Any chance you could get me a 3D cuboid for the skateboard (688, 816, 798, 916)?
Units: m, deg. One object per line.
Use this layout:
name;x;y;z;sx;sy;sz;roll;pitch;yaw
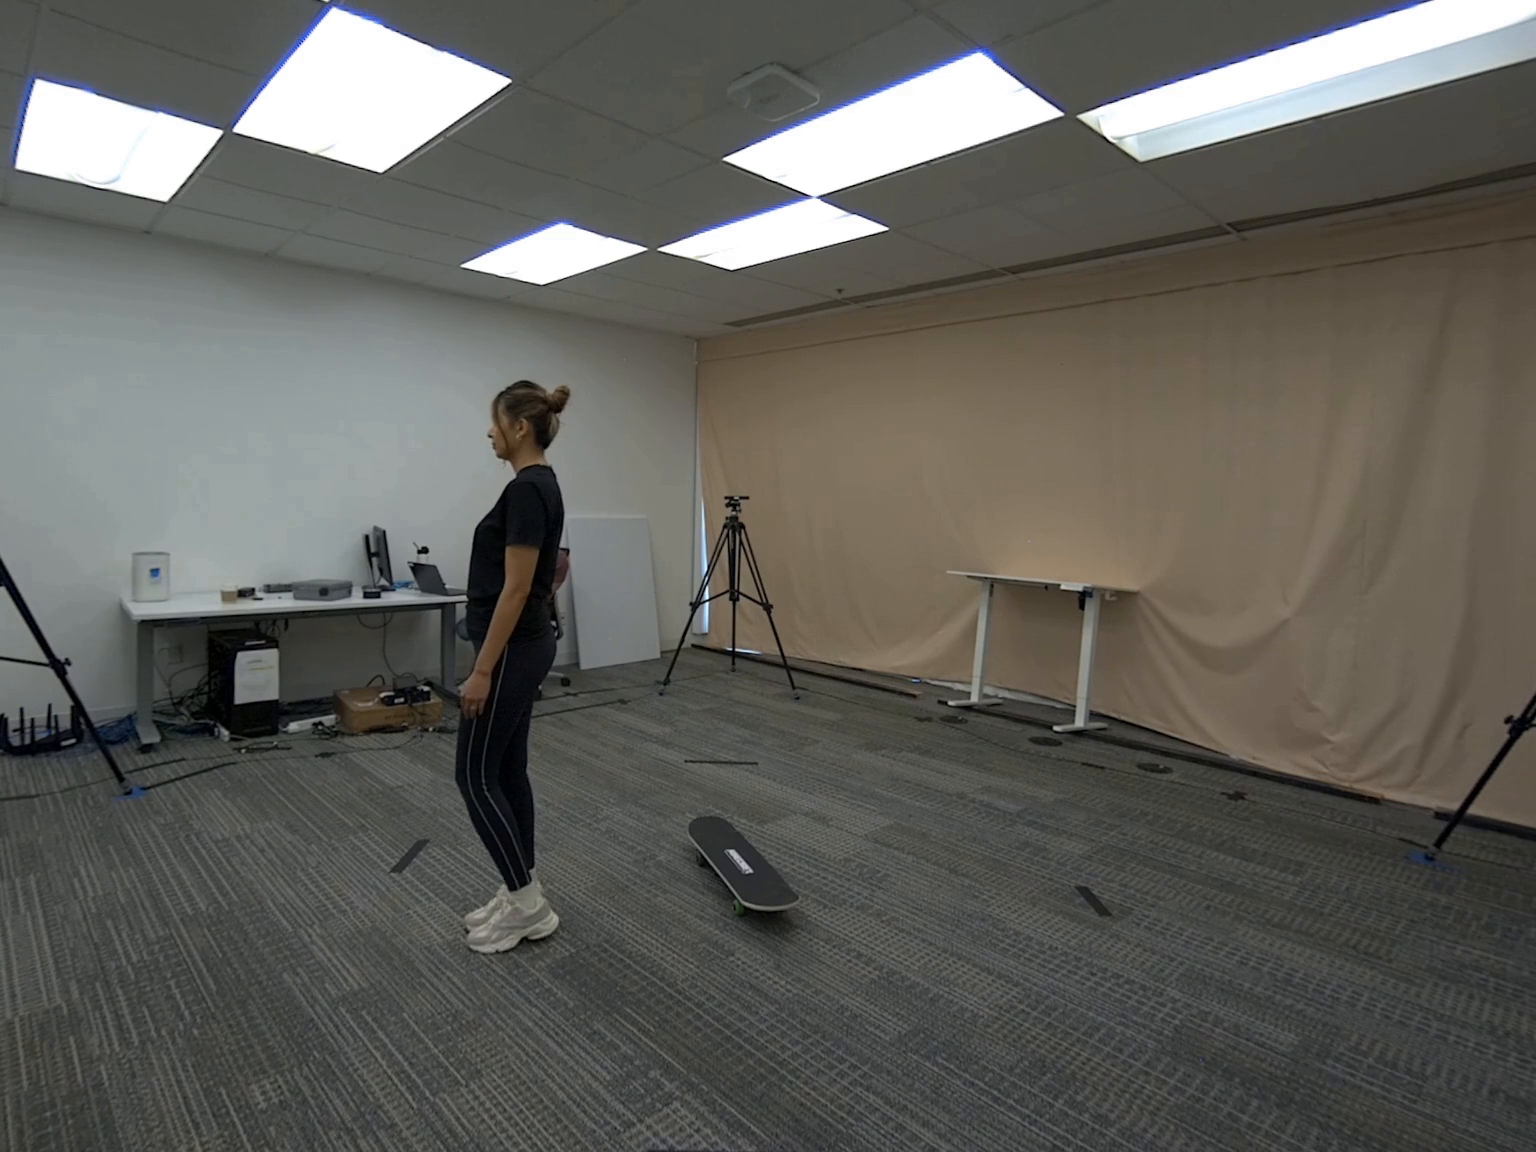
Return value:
skateboard;-0.114;1.055;3.019;0.190;0.110;0.800;-2;6;-22
